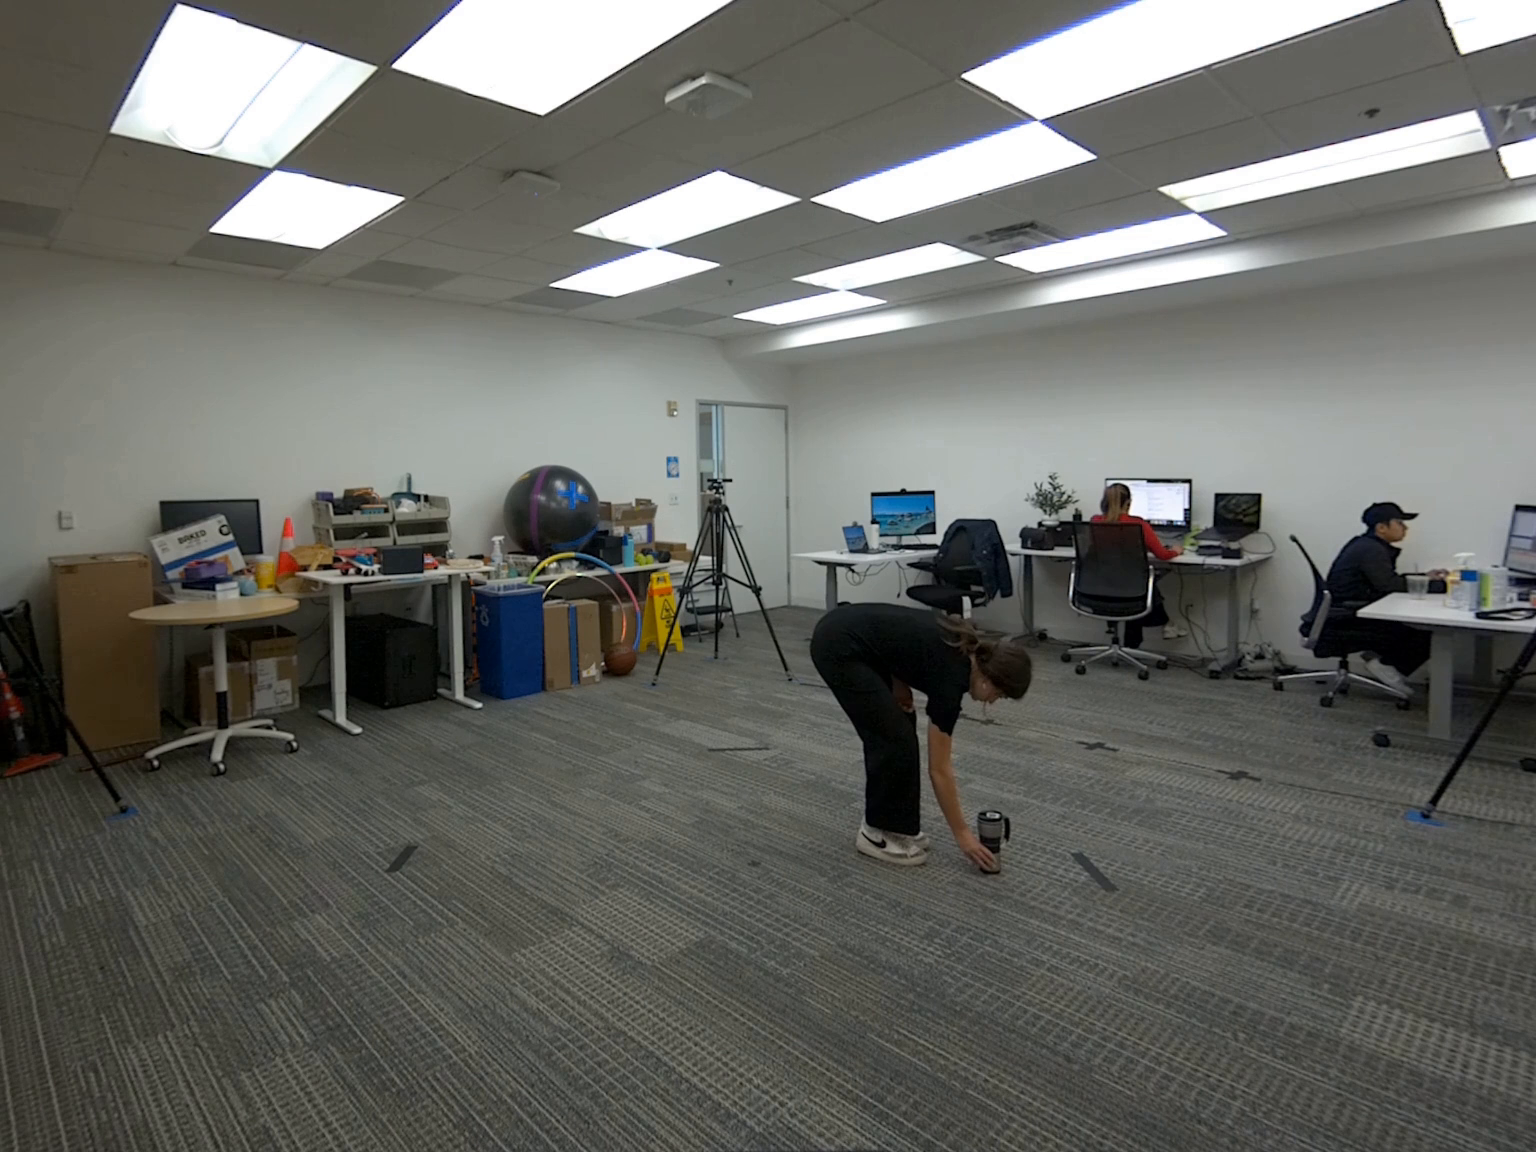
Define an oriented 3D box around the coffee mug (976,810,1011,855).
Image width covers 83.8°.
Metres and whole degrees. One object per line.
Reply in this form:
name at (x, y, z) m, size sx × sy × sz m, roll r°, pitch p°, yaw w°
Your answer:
coffee mug at (0.797, 0.939, 3.029) m, size 0.119 × 0.202 × 0.090 m, roll -6°, pitch 5°, yaw -38°
